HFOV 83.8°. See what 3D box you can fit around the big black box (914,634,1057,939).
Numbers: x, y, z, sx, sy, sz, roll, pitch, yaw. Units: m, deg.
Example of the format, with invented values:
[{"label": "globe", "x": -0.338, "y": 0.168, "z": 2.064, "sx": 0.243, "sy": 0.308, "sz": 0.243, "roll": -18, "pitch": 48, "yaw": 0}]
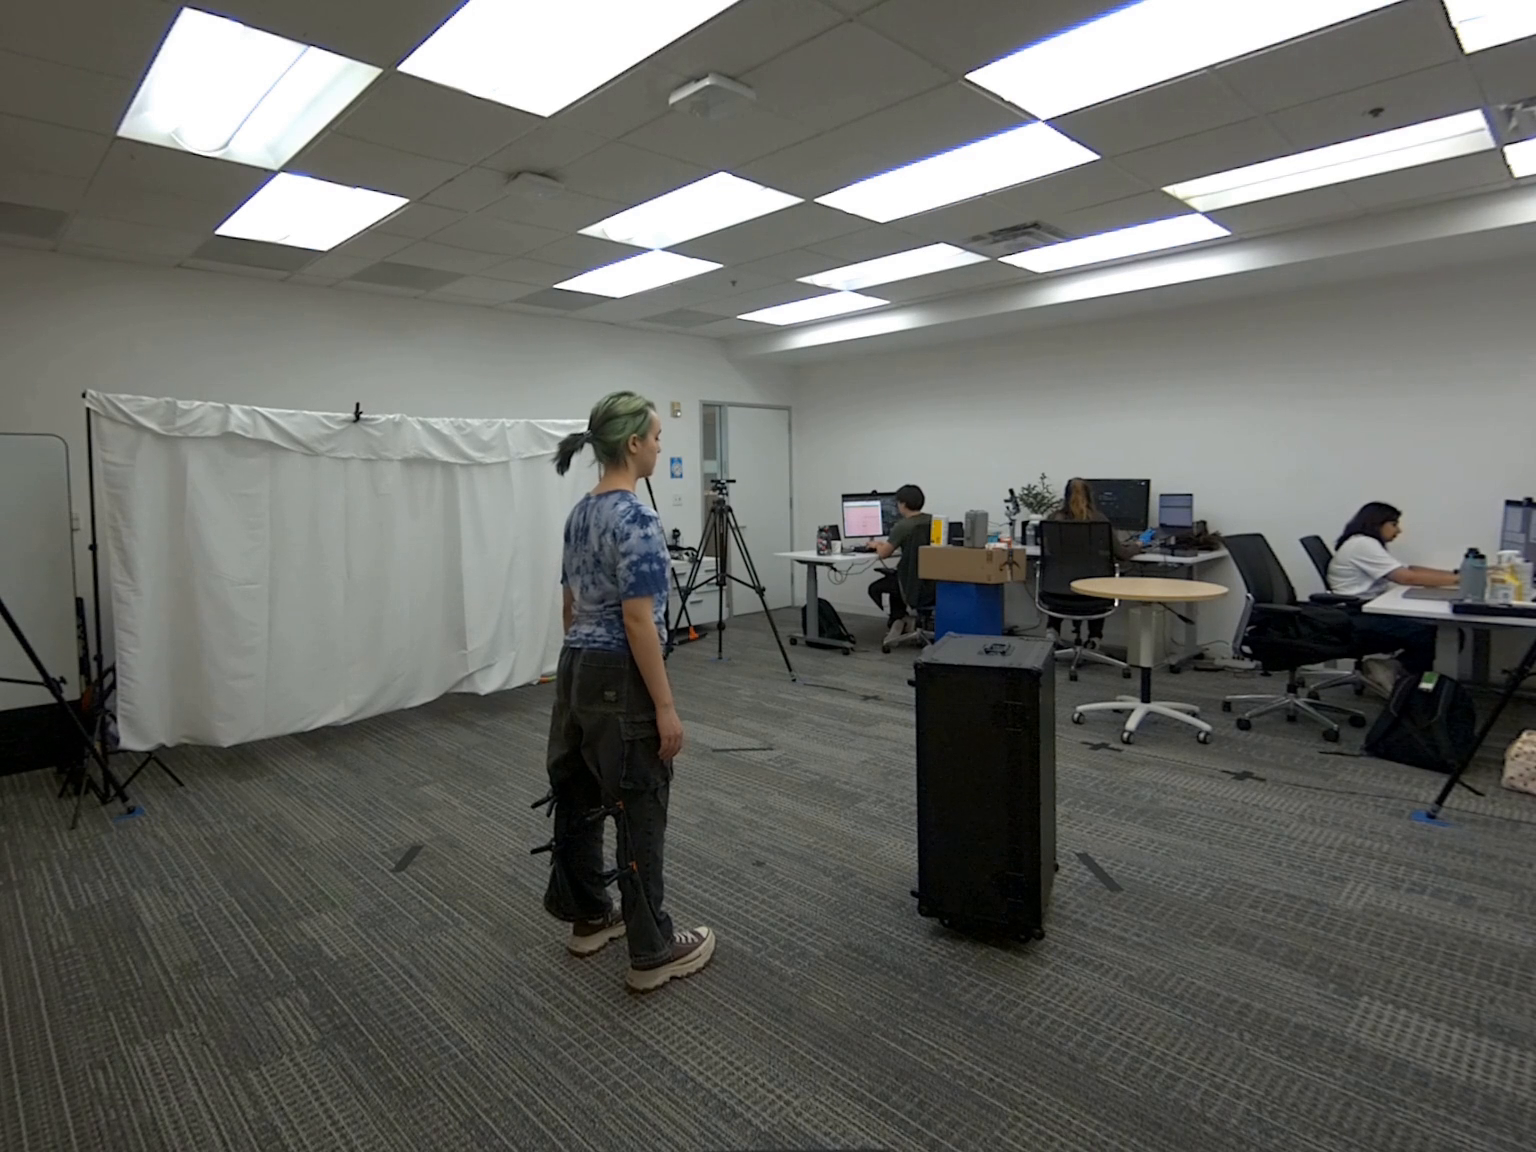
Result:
[{"label": "big black box", "x": 0.693, "y": 0.655, "z": 2.700, "sx": 0.405, "sy": 0.859, "sz": 0.511, "roll": 0, "pitch": 4, "yaw": 25}]
